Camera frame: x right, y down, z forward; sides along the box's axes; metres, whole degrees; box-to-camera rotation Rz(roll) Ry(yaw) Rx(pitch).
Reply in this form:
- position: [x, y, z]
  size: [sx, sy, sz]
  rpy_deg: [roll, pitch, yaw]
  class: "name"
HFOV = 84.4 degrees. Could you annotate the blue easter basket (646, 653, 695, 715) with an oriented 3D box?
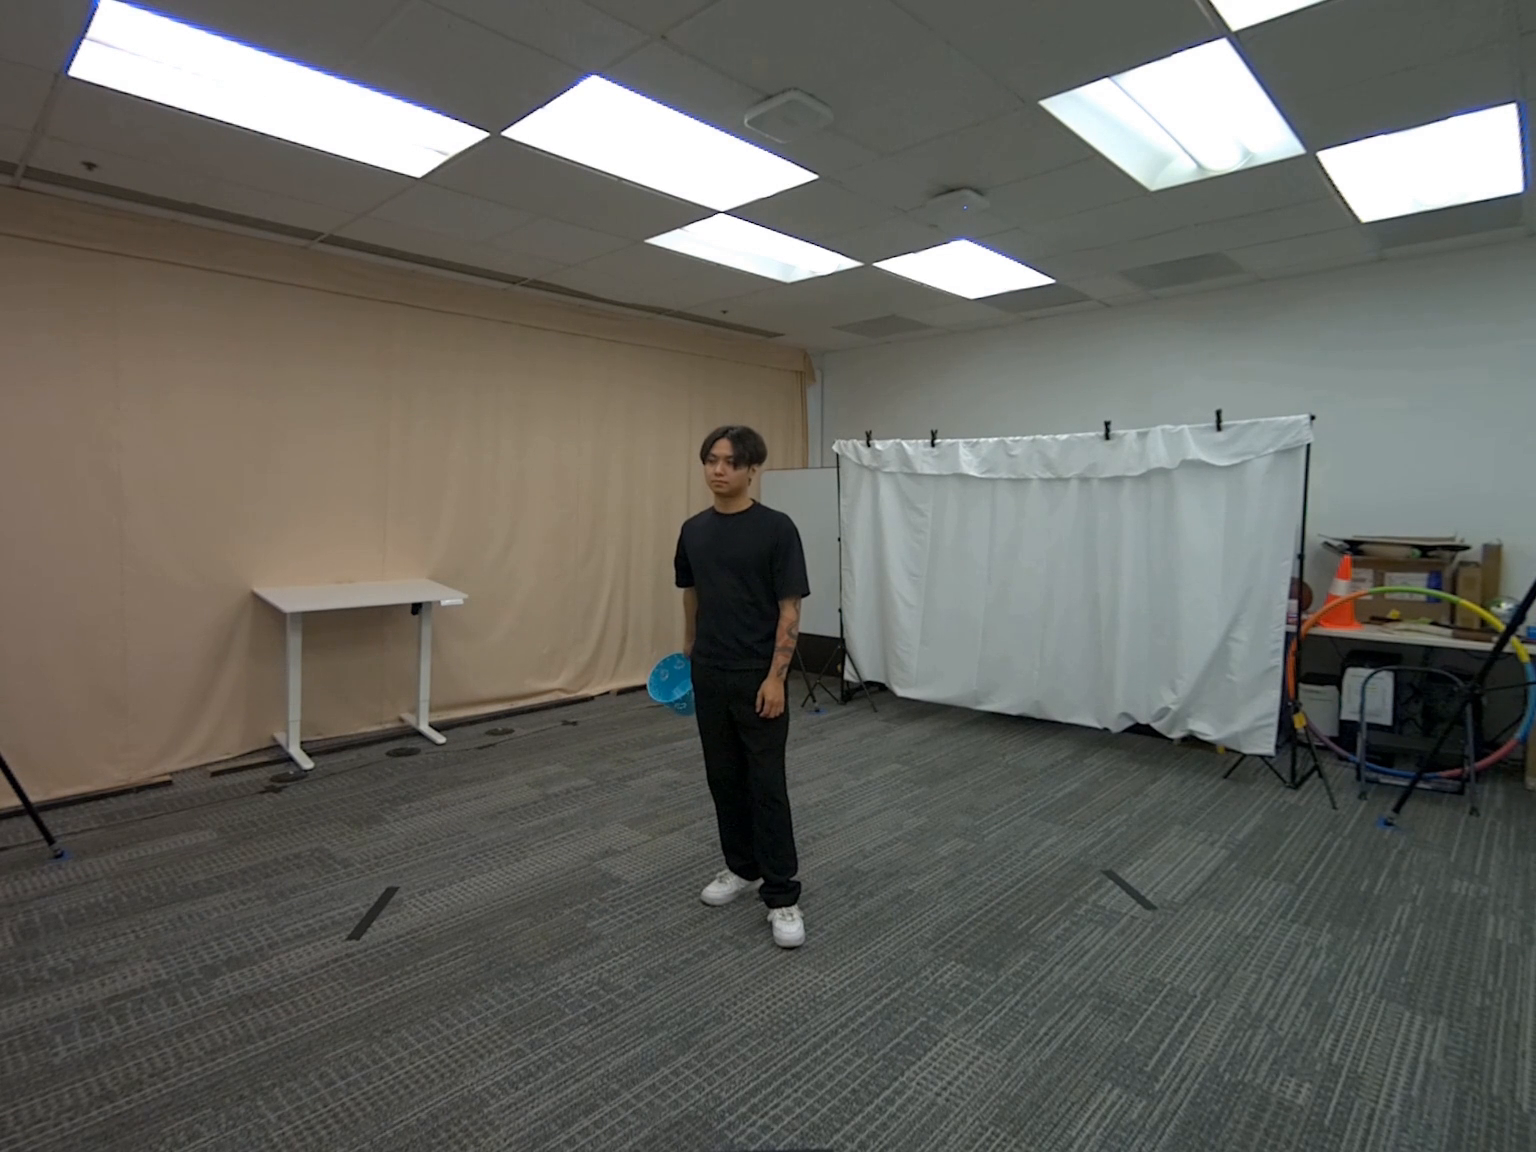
- position: [-0.349, 0.443, 3.395]
  size: [0.251, 0.244, 0.151]
  rpy_deg: [3, -36, 35]
  class: "blue easter basket"
